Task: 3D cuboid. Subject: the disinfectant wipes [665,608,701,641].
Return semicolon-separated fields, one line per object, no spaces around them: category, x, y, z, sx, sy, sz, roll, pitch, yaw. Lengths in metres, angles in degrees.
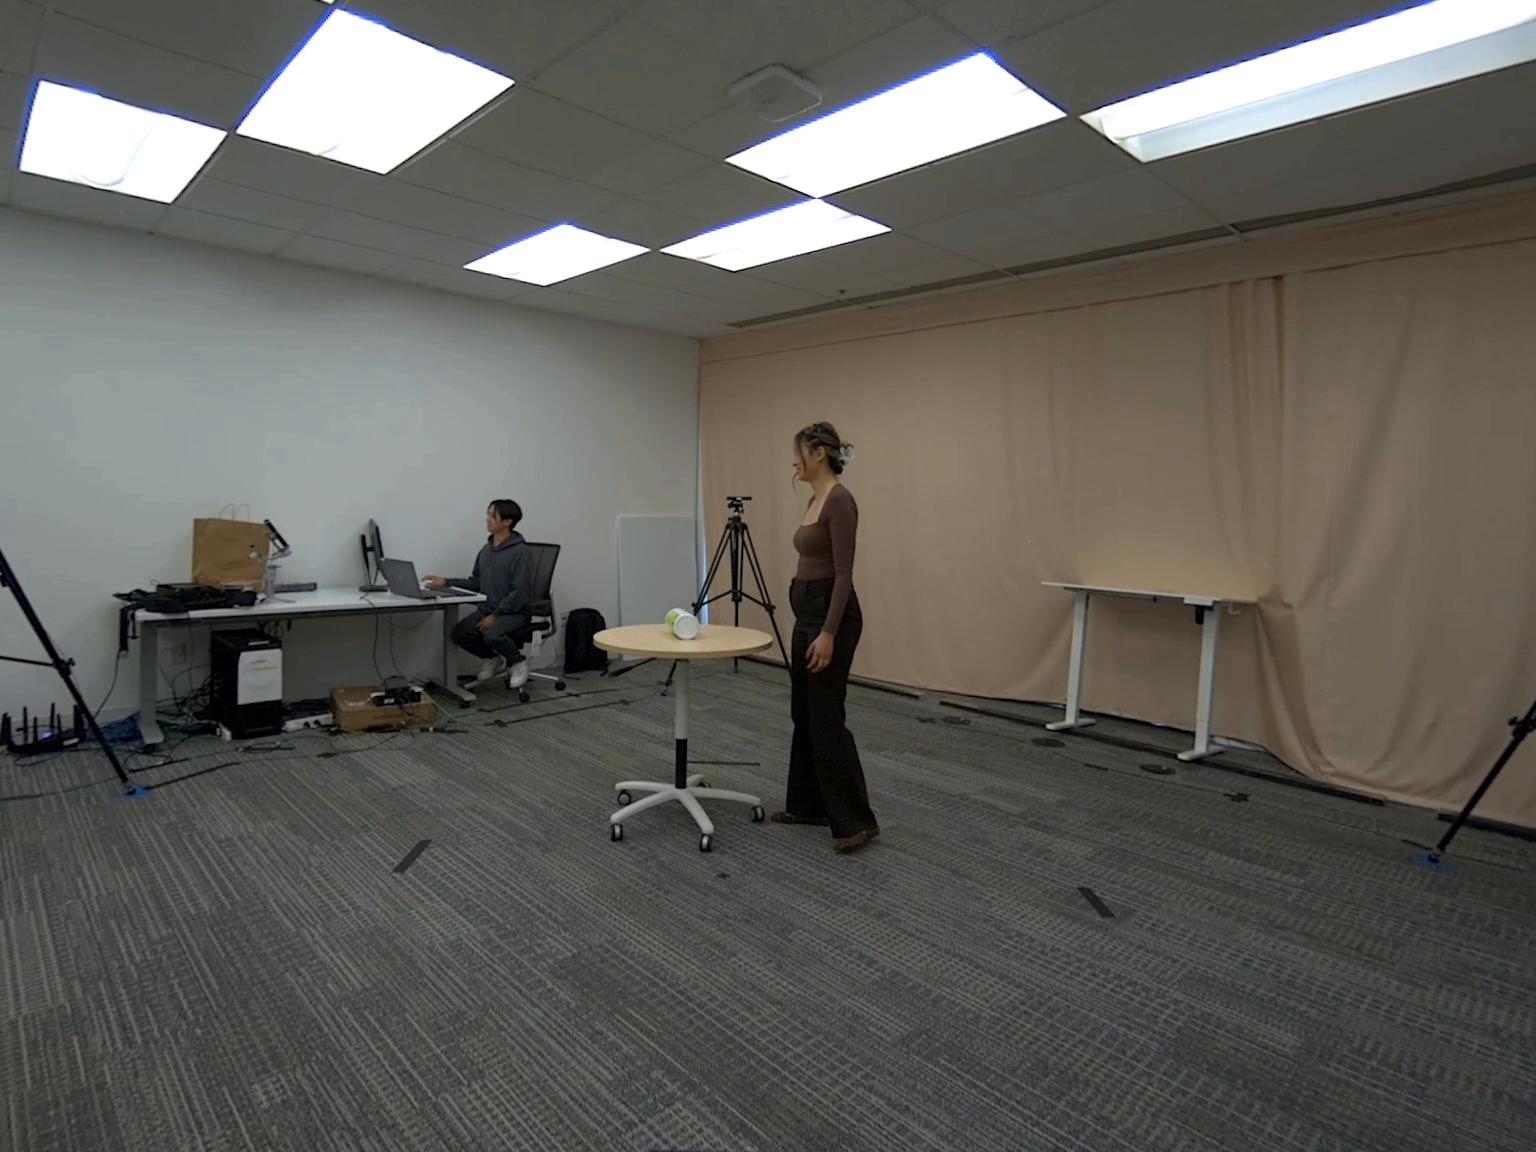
disinfectant wipes;-0.364;0.205;3.615;0.116;0.117;0.220;0;3;-13
